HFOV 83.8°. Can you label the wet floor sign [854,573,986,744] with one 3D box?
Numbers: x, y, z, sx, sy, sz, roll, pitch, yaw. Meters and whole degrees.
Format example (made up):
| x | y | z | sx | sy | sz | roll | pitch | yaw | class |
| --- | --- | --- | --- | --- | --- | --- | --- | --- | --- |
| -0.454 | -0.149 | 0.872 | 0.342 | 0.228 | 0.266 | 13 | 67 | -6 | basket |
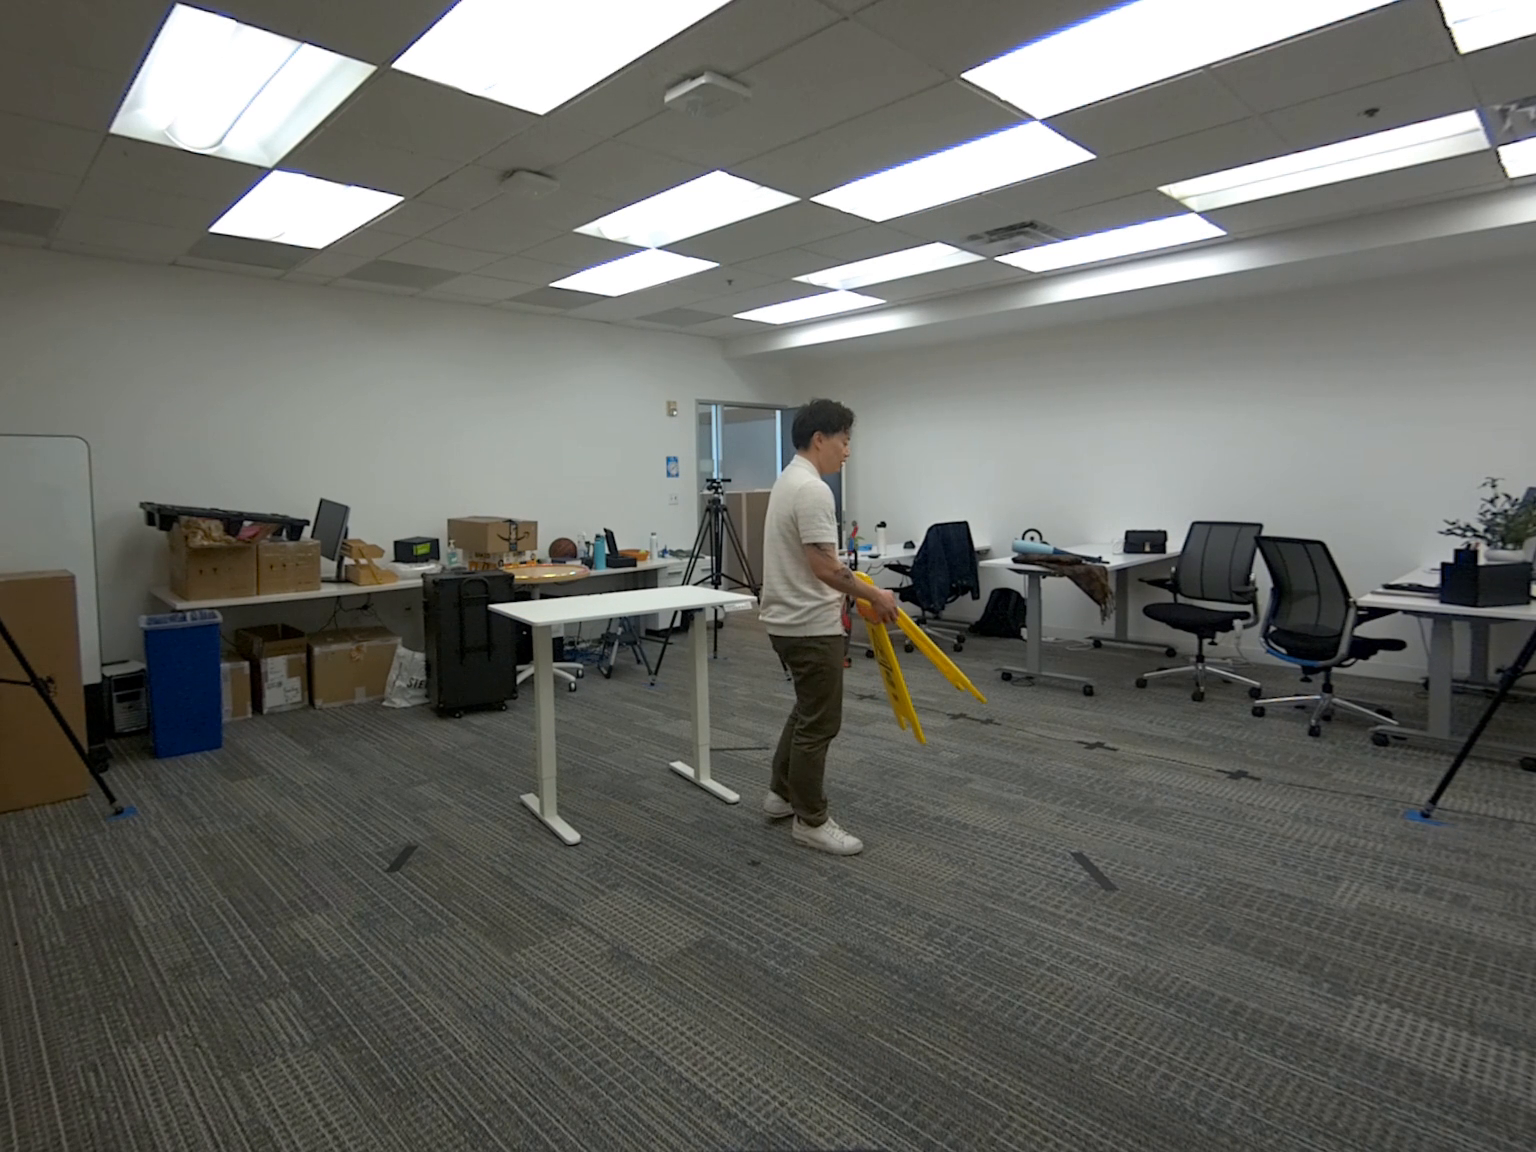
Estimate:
| x | y | z | sx | sy | sz | roll | pitch | yaw | class |
| --- | --- | --- | --- | --- | --- | --- | --- | --- | --- |
| 0.502 | 0.263 | 3.267 | 0.289 | 0.643 | 0.284 | -32 | 4 | -5 | wet floor sign |
